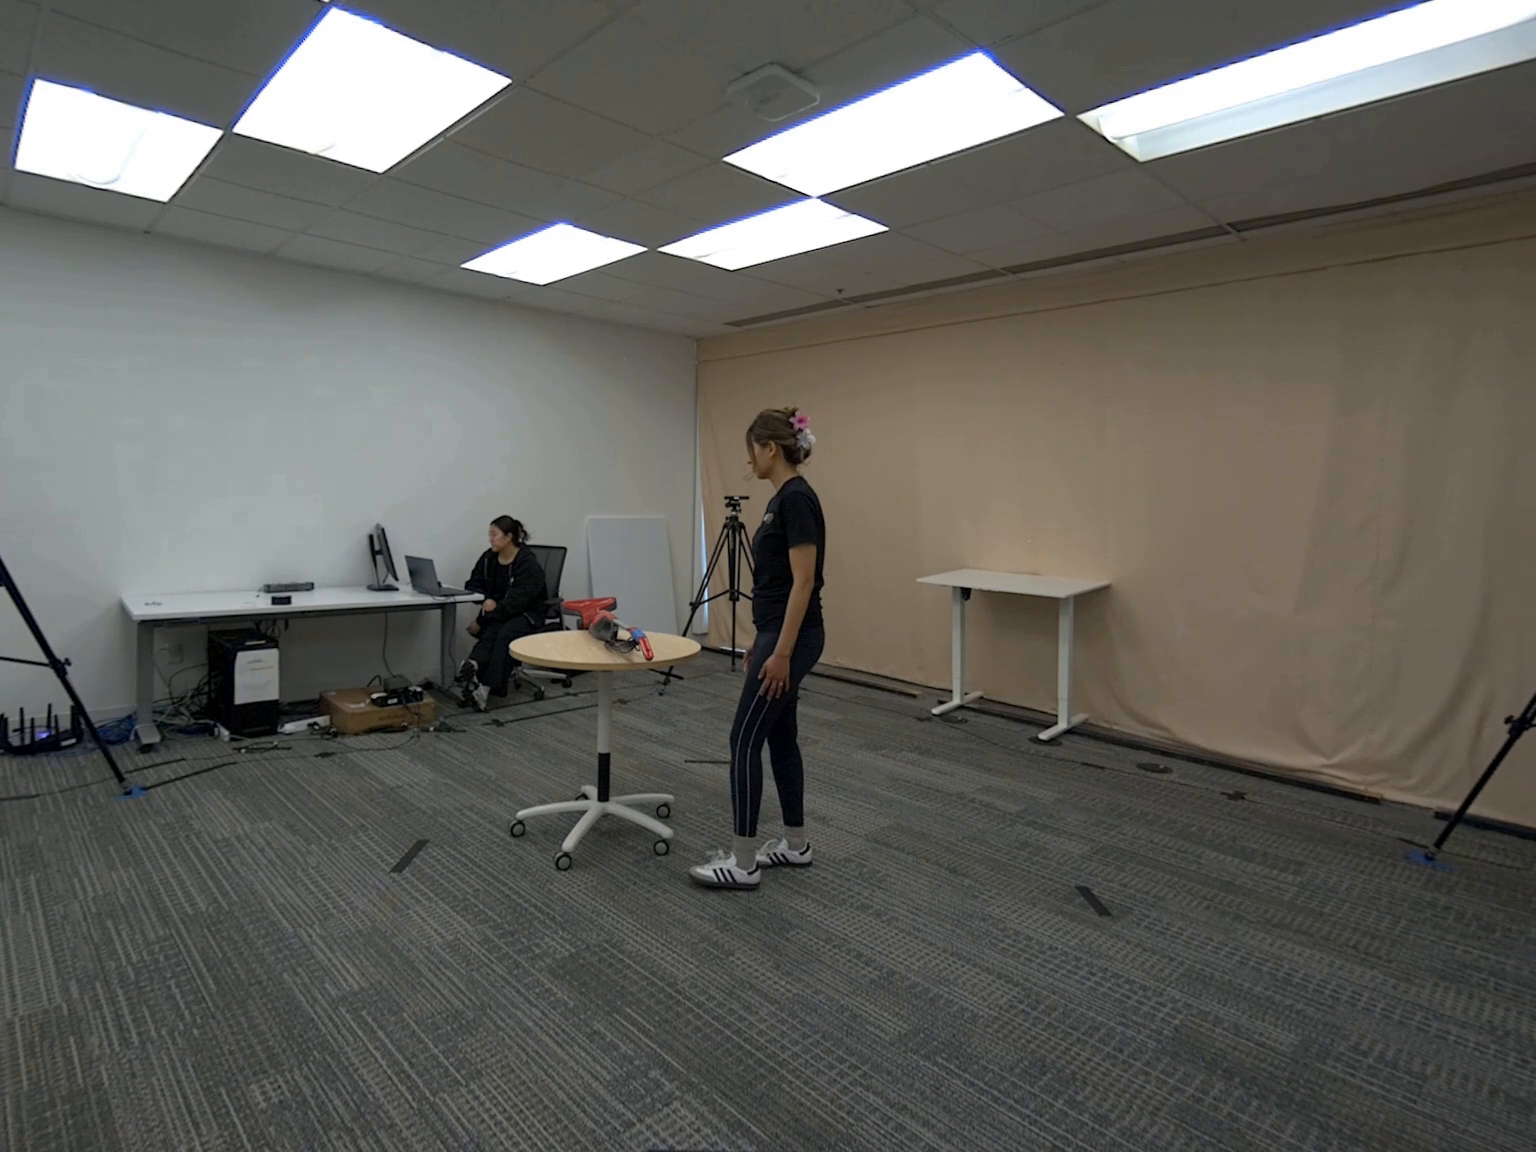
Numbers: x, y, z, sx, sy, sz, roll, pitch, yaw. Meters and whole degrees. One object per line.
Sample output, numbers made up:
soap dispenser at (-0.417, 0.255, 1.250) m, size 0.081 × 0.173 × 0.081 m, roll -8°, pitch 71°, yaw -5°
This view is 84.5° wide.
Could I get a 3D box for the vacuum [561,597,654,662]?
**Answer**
vacuum at (-0.615, 0.239, 3.343) m, size 0.249 × 0.143 × 1.070 m, roll -7°, pitch 9°, yaw -21°
